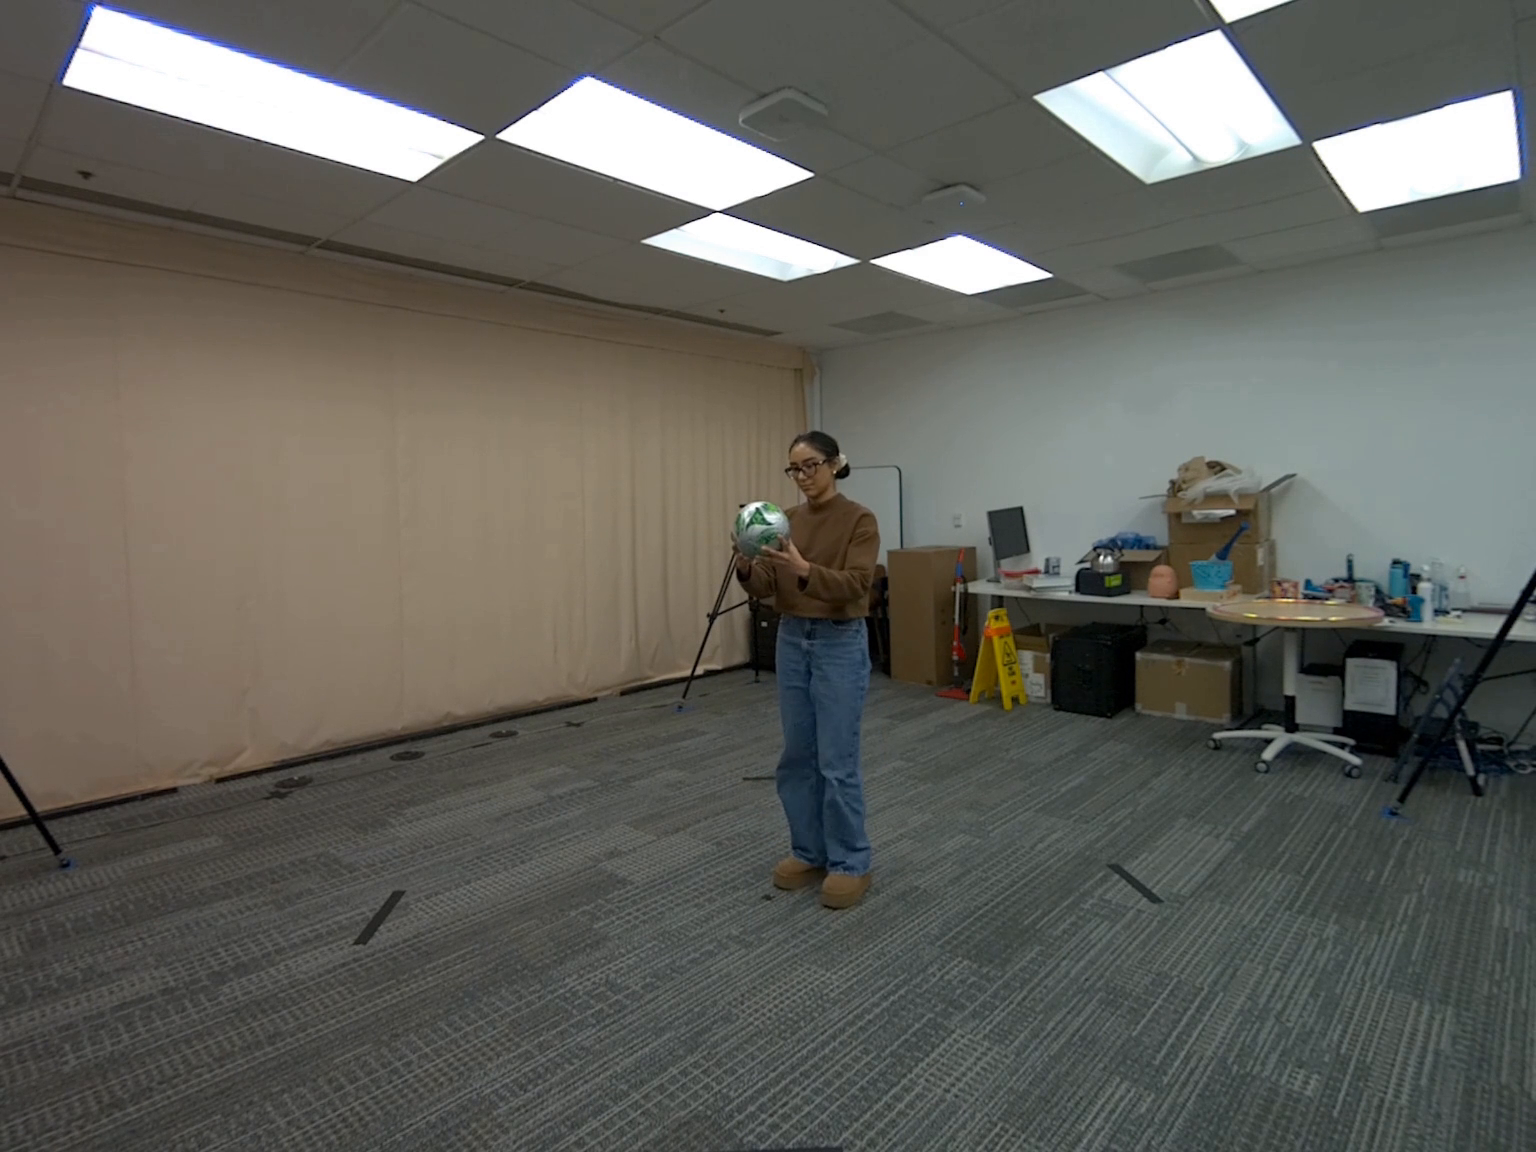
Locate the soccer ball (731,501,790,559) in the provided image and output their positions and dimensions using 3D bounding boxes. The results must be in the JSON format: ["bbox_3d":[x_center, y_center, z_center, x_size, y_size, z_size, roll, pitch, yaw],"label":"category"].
[{"bbox_3d":[-0.015,-0.140,2.684,0.187,0.187,0.188,-1,4,-2],"label":"soccer ball"}]
